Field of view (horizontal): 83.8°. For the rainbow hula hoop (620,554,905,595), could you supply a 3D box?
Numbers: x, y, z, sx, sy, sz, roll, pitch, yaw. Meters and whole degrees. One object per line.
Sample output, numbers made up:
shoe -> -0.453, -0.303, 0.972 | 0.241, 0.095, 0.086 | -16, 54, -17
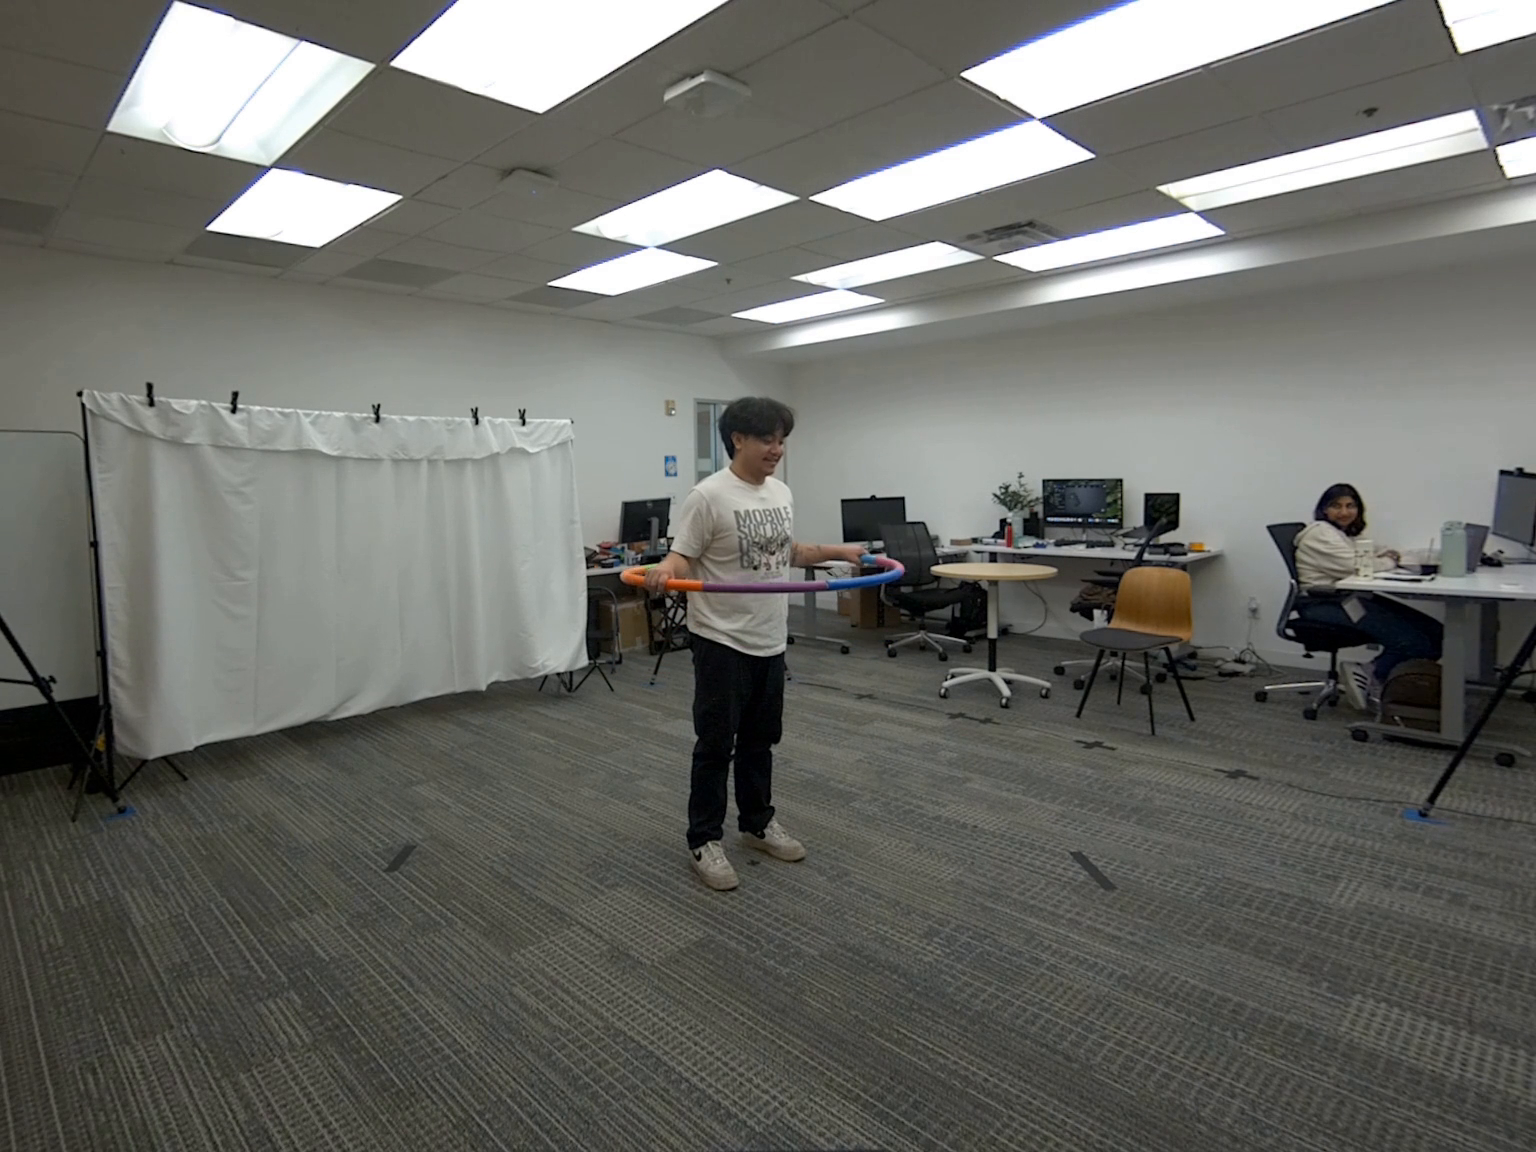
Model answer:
rainbow hula hoop -> -0.027, -0.024, 2.992 | 0.985, 0.051, 0.991 | -1, 6, -2
